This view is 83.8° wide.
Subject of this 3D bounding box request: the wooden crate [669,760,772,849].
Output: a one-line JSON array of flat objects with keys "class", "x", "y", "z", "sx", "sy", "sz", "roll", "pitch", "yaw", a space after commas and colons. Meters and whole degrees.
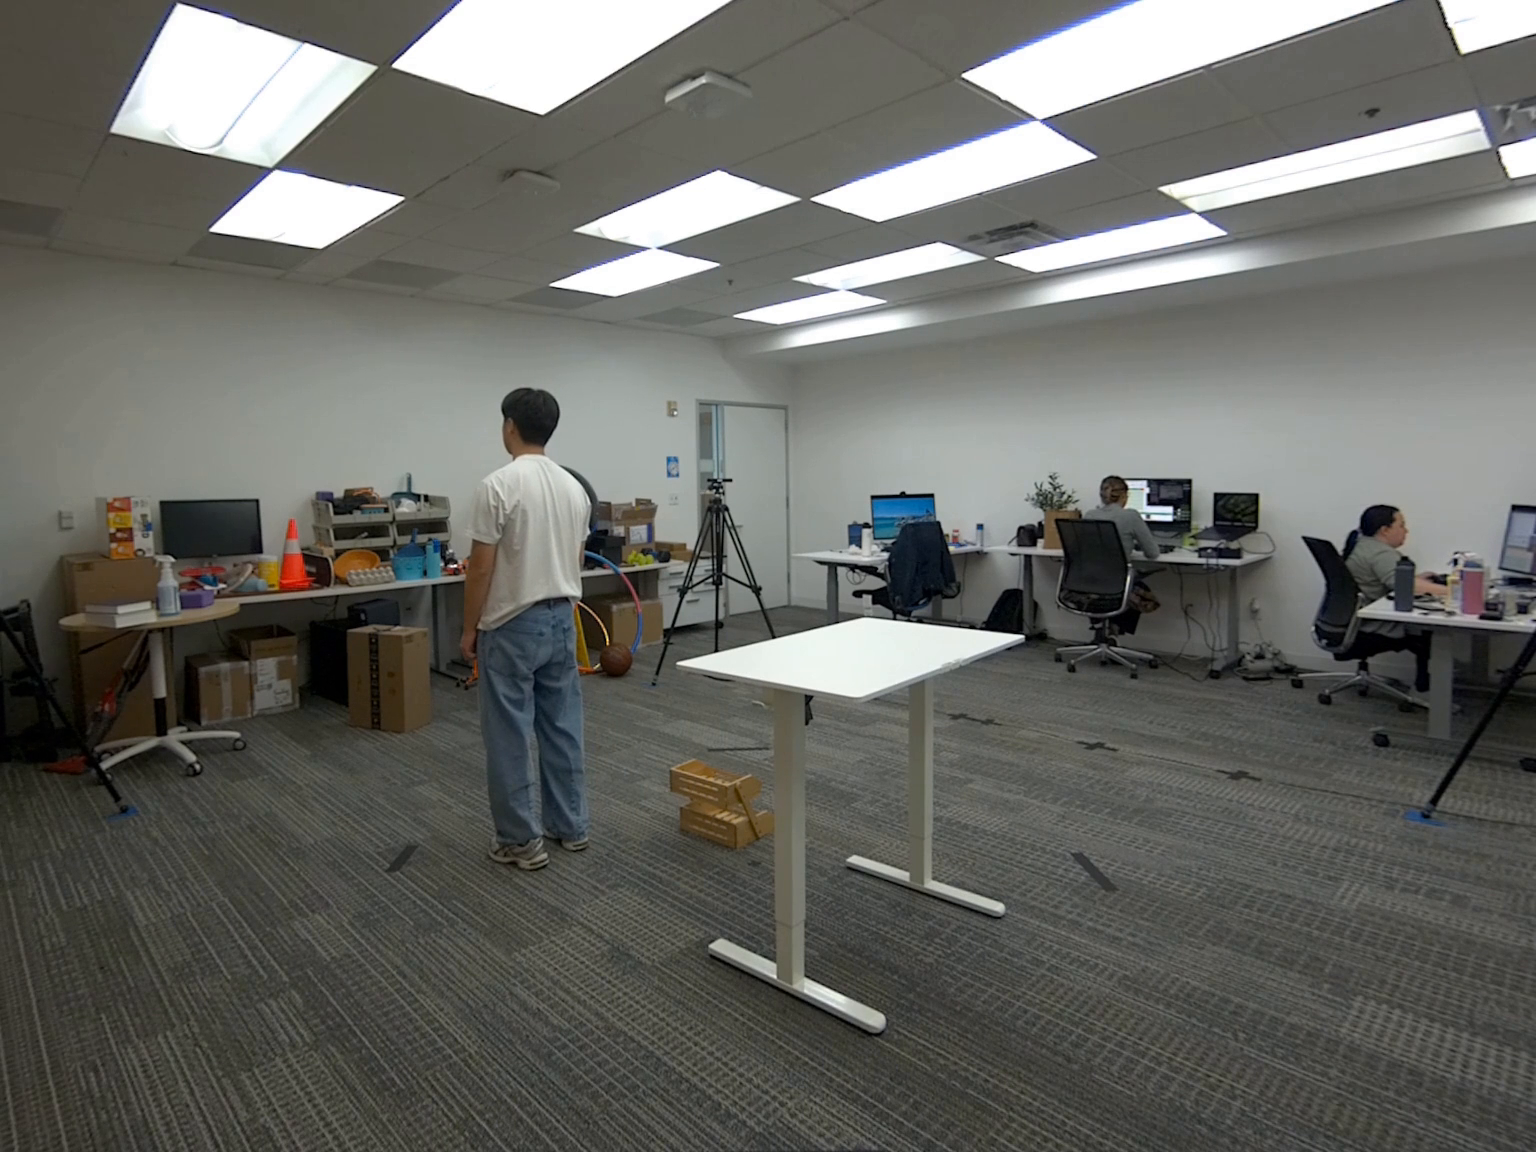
[{"class": "wooden crate", "x": -0.176, "y": 0.876, "z": 3.388, "sx": 0.334, "sy": 0.272, "sz": 0.294, "roll": 4, "pitch": 7, "yaw": 39}]
